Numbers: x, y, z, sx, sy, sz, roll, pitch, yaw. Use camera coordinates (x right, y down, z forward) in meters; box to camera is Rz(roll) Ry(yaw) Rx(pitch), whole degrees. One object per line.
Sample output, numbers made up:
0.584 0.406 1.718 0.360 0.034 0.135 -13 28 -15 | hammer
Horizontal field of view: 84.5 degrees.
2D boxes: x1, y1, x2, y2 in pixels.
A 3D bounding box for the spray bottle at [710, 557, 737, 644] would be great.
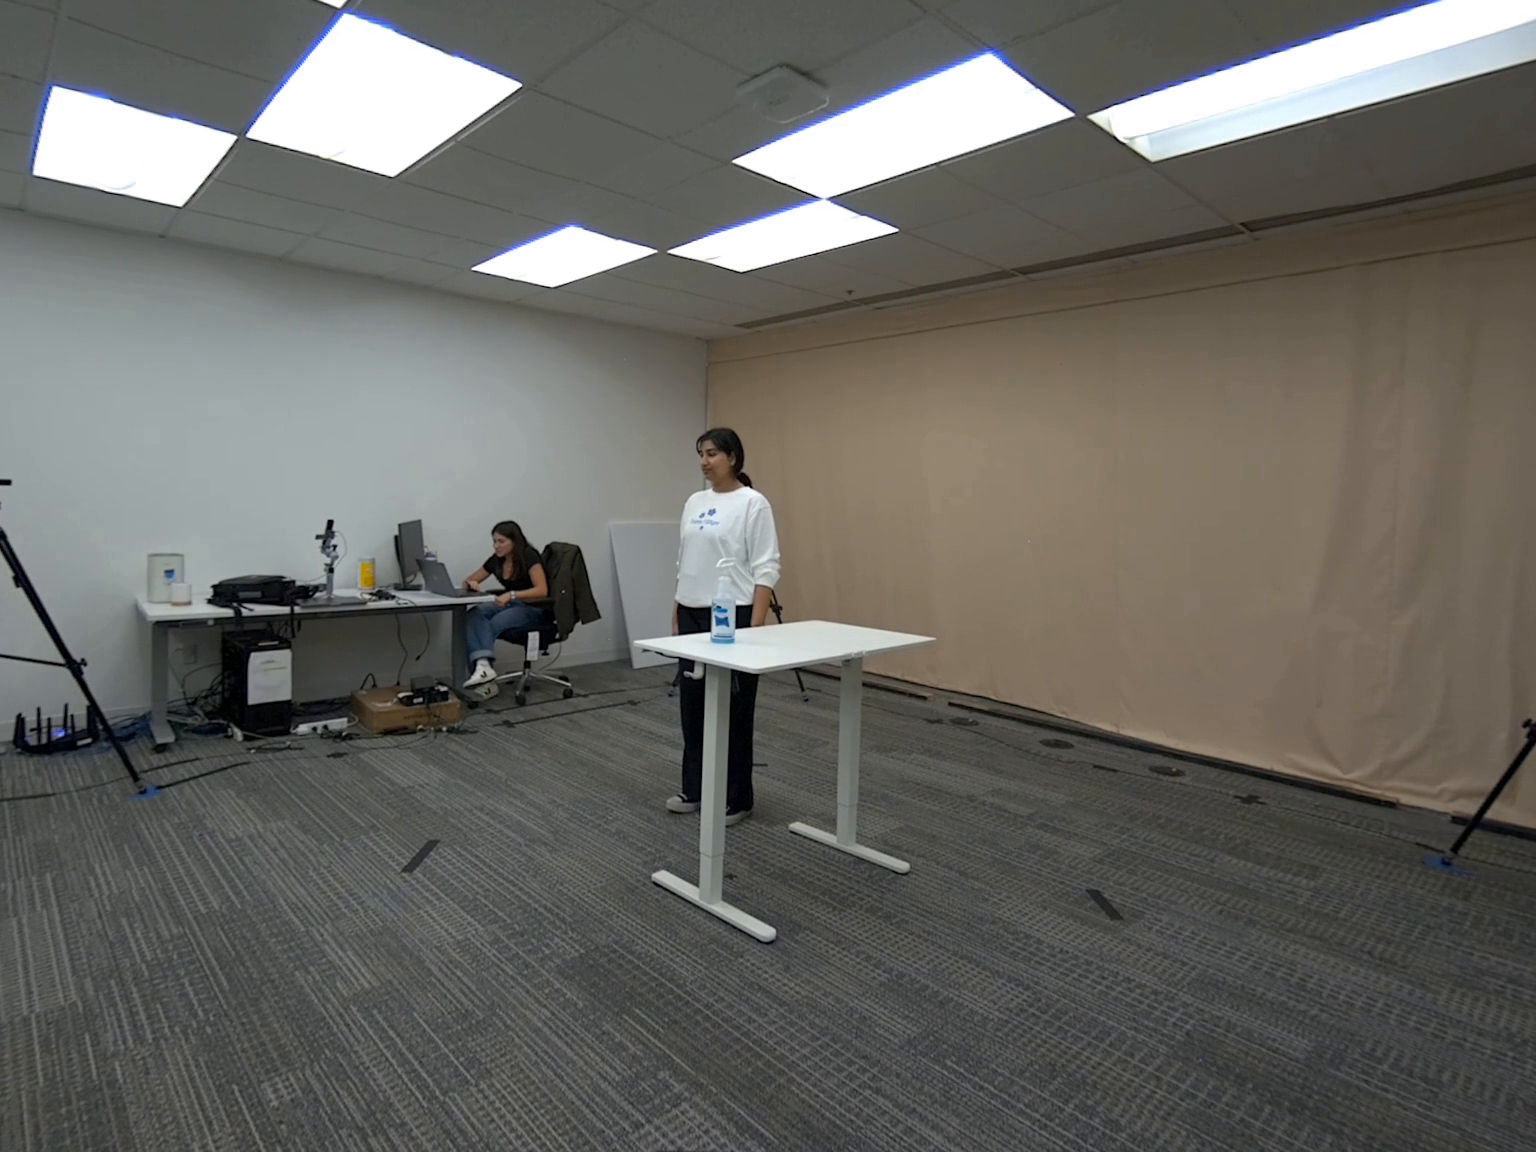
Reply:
-0.161 0.088 2.977 0.088 0.297 0.088 3 2 -21 | spray bottle
